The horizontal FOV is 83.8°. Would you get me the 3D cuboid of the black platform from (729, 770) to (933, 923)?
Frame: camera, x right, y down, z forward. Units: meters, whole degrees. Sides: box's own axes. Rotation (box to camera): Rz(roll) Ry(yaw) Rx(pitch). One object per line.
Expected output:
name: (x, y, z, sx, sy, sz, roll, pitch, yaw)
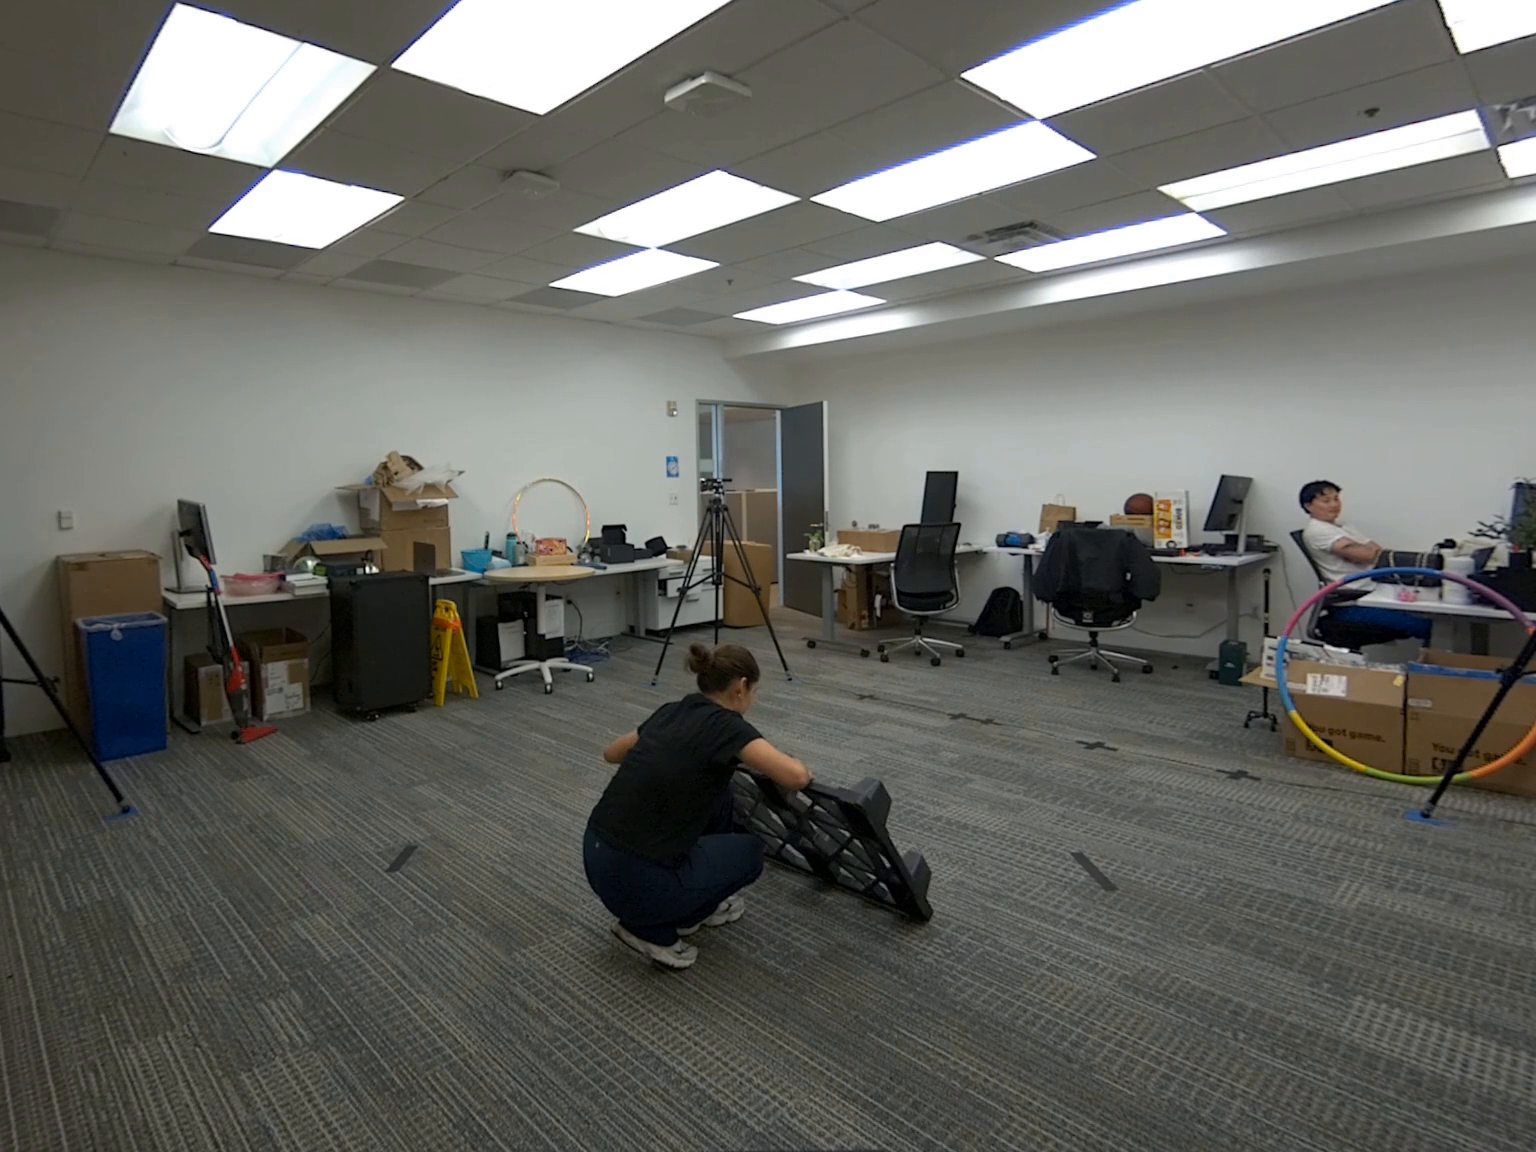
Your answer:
black platform: (0.118, 0.792, 2.844, 0.831, 0.586, 0.143, 6, 44, 45)
